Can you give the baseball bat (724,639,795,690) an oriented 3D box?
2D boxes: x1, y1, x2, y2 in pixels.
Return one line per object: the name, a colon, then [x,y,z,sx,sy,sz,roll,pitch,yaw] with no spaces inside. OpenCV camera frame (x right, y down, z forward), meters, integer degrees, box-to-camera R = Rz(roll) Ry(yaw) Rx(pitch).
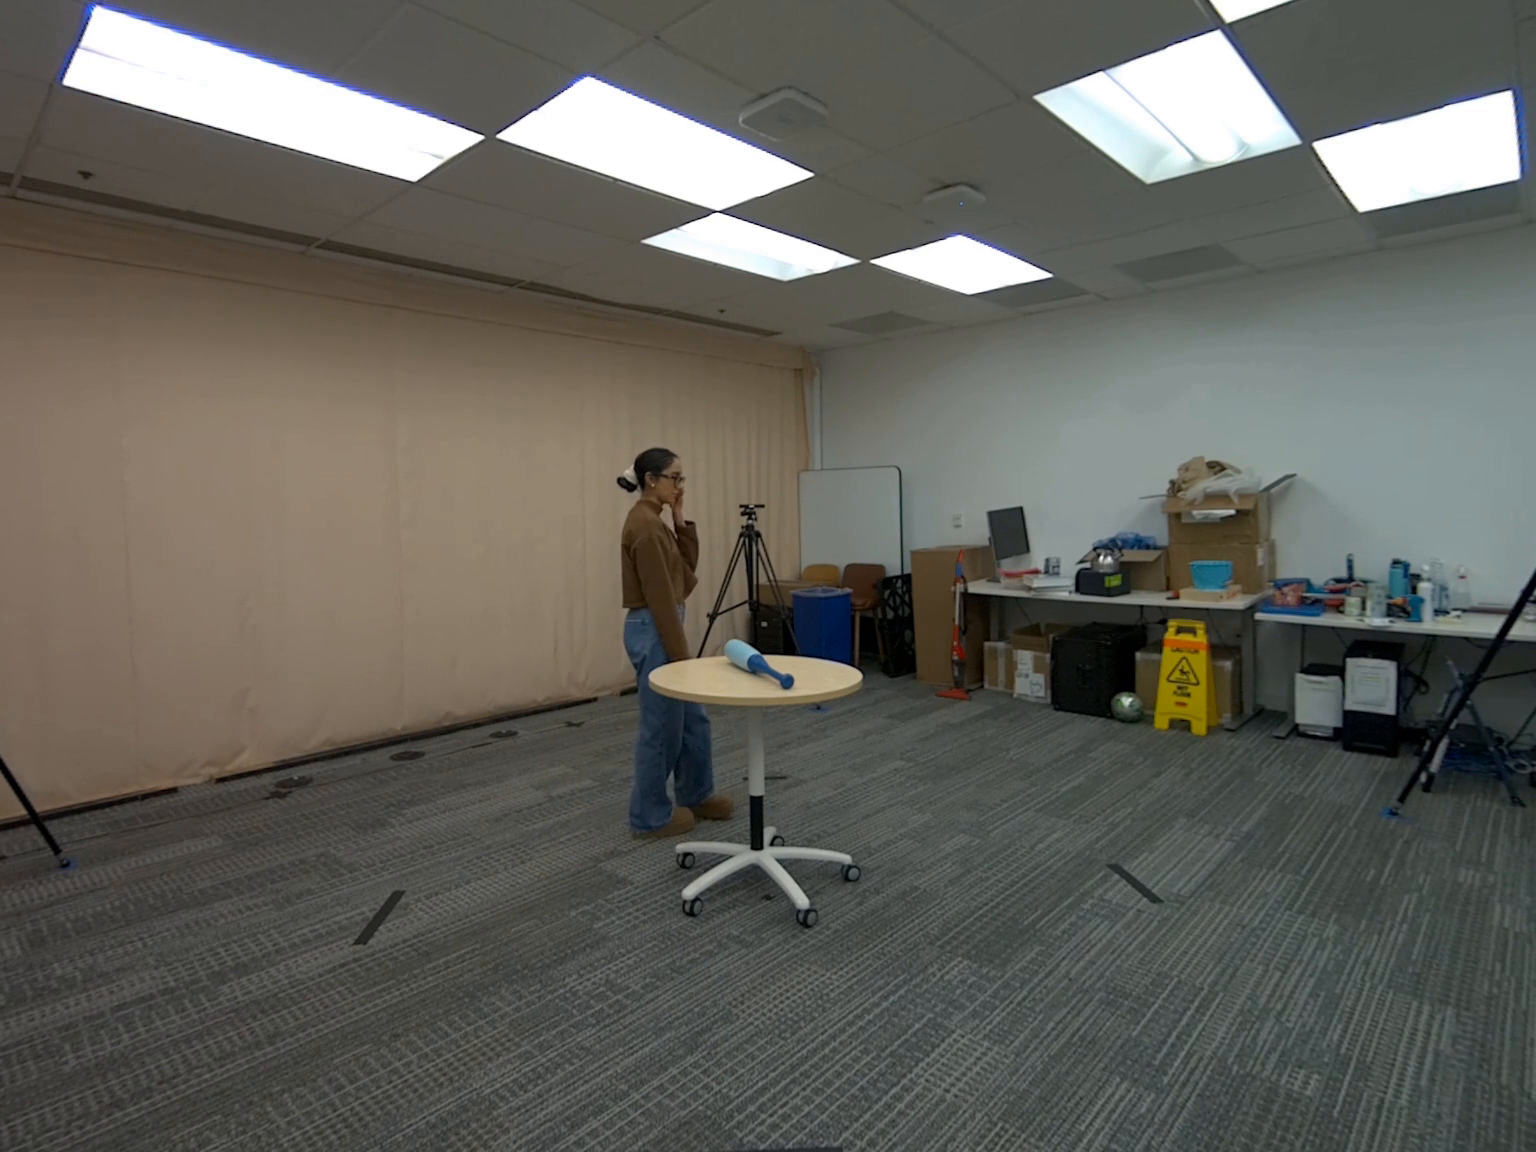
baseball bat: [-0.032,0.319,3.019,0.087,0.089,0.556,-2,8,-22]
